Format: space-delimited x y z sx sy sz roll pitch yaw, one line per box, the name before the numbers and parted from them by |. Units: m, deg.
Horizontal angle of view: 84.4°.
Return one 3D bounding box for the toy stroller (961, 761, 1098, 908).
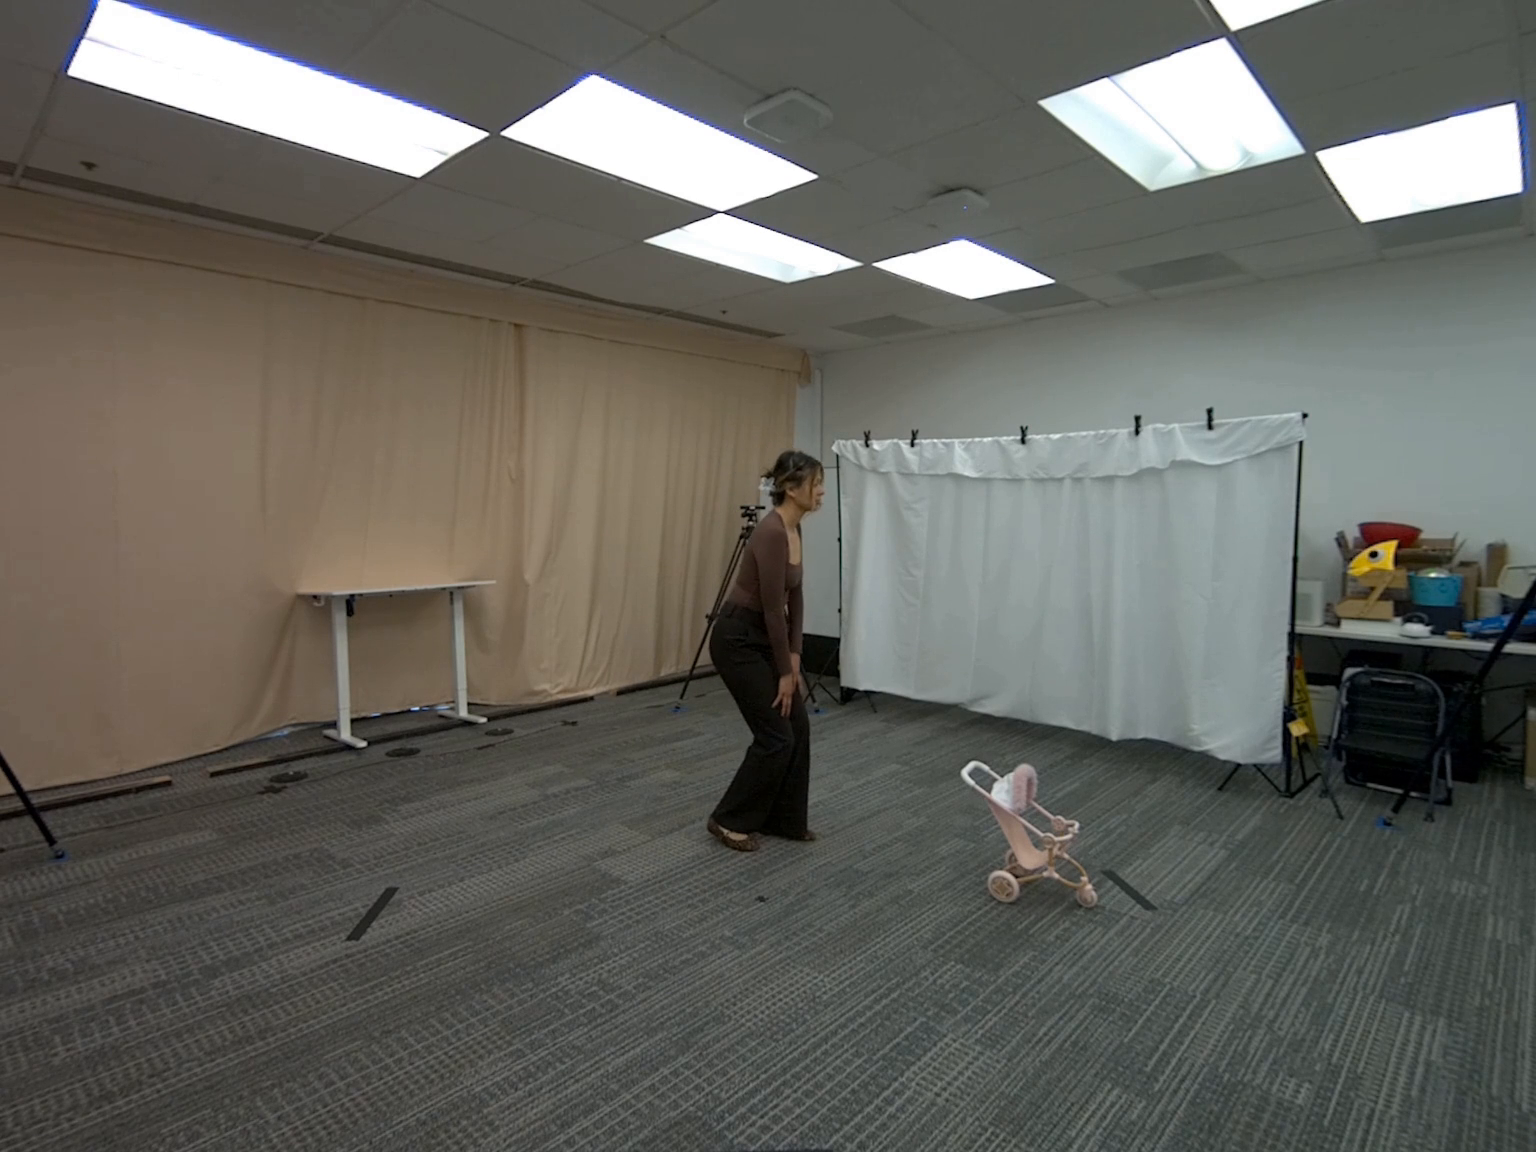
toy stroller | 0.948 0.917 3.011 0.349 0.538 0.273 -19 -8 35
